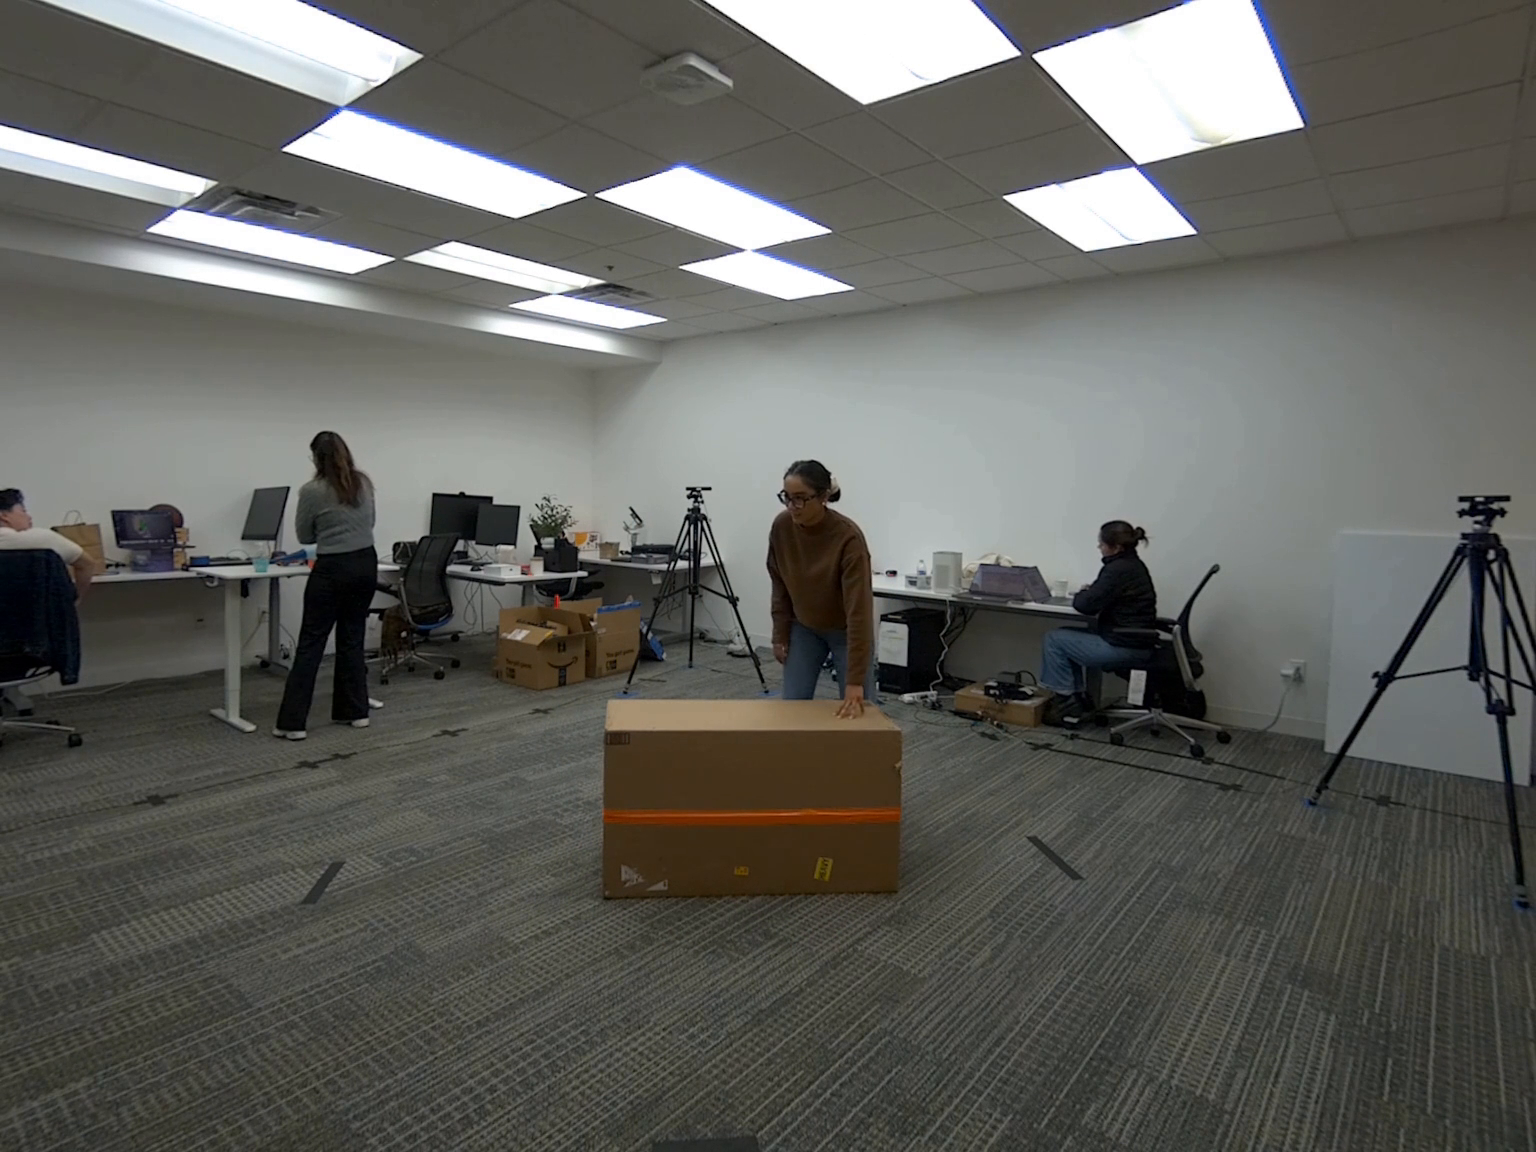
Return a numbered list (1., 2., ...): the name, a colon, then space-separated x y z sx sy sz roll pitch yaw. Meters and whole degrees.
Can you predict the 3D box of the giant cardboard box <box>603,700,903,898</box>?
1. giant cardboard box: -0.088 0.784 3.091 1.021 0.583 0.450 1 3 -5
